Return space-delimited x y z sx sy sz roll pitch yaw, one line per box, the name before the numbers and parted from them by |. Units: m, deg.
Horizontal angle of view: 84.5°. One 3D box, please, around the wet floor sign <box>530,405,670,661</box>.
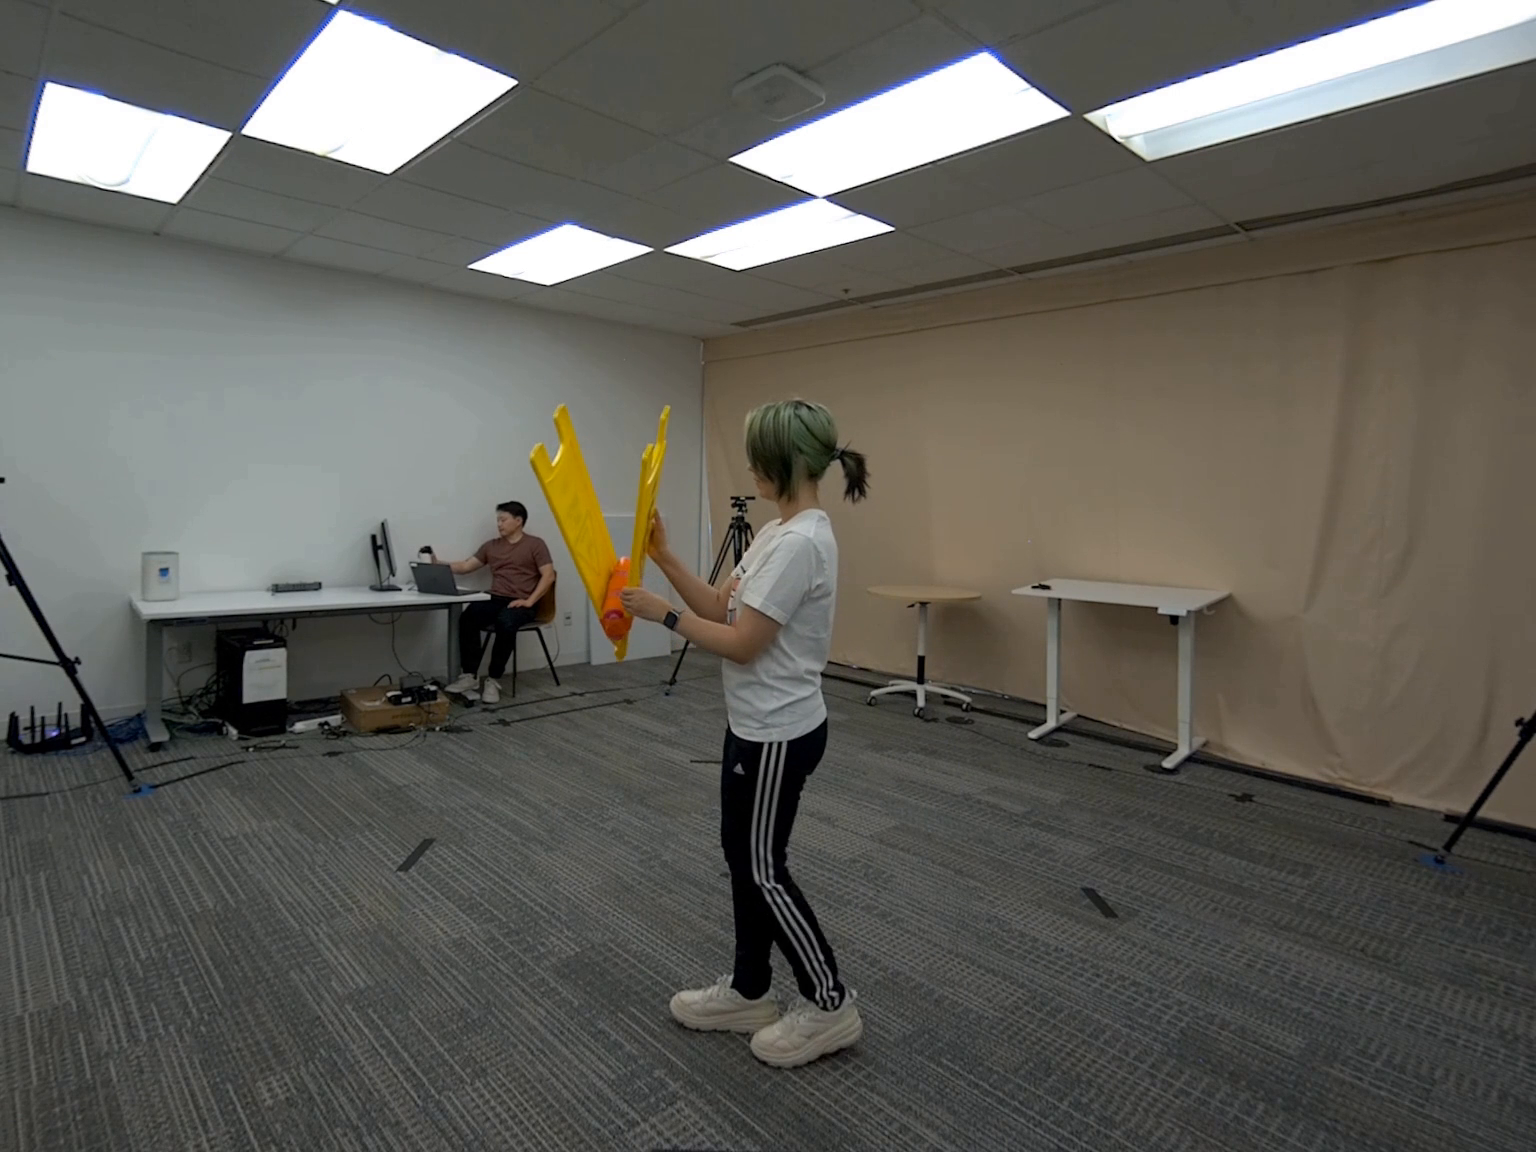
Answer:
wet floor sign | -0.399 -0.078 2.144 0.290 0.633 0.287 2 34 3
